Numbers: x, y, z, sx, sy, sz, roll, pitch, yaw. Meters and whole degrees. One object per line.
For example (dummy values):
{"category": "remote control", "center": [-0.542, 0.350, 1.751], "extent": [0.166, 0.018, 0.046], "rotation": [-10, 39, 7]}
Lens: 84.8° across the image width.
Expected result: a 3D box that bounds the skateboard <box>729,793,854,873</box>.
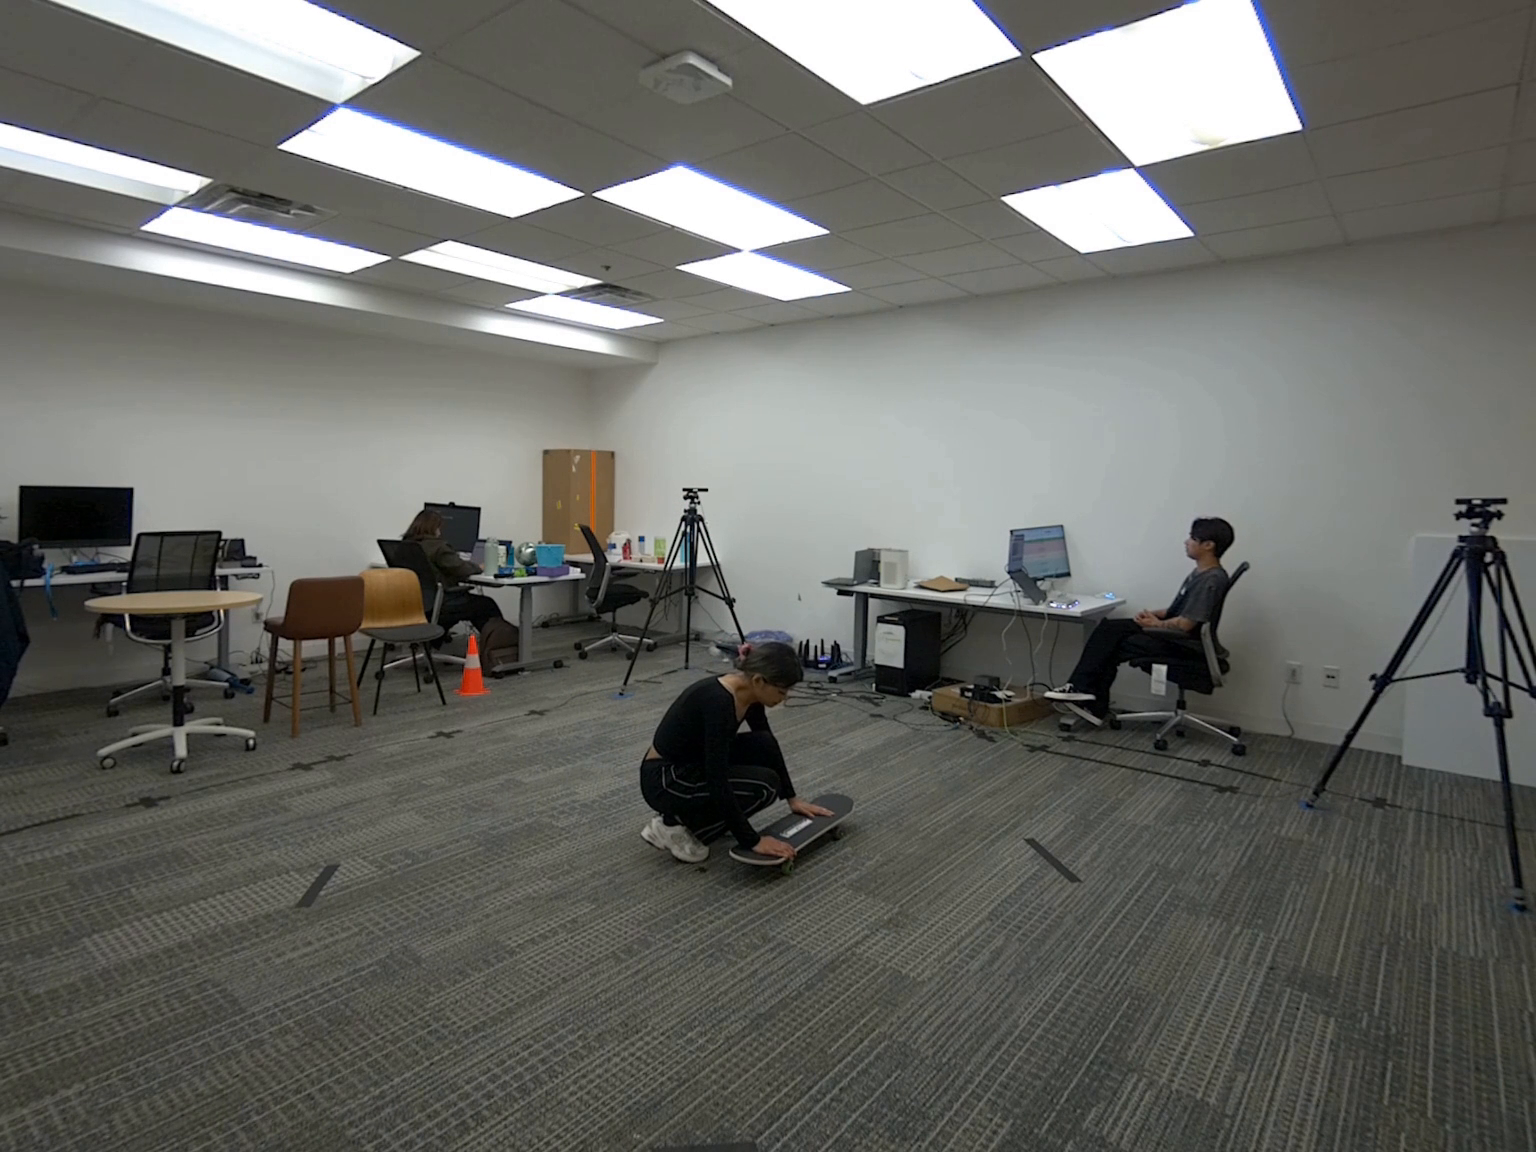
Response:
{"category": "skateboard", "center": [0.100, 1.001, 3.278], "extent": [0.199, 0.110, 0.764], "rotation": [4, 6, 32]}
